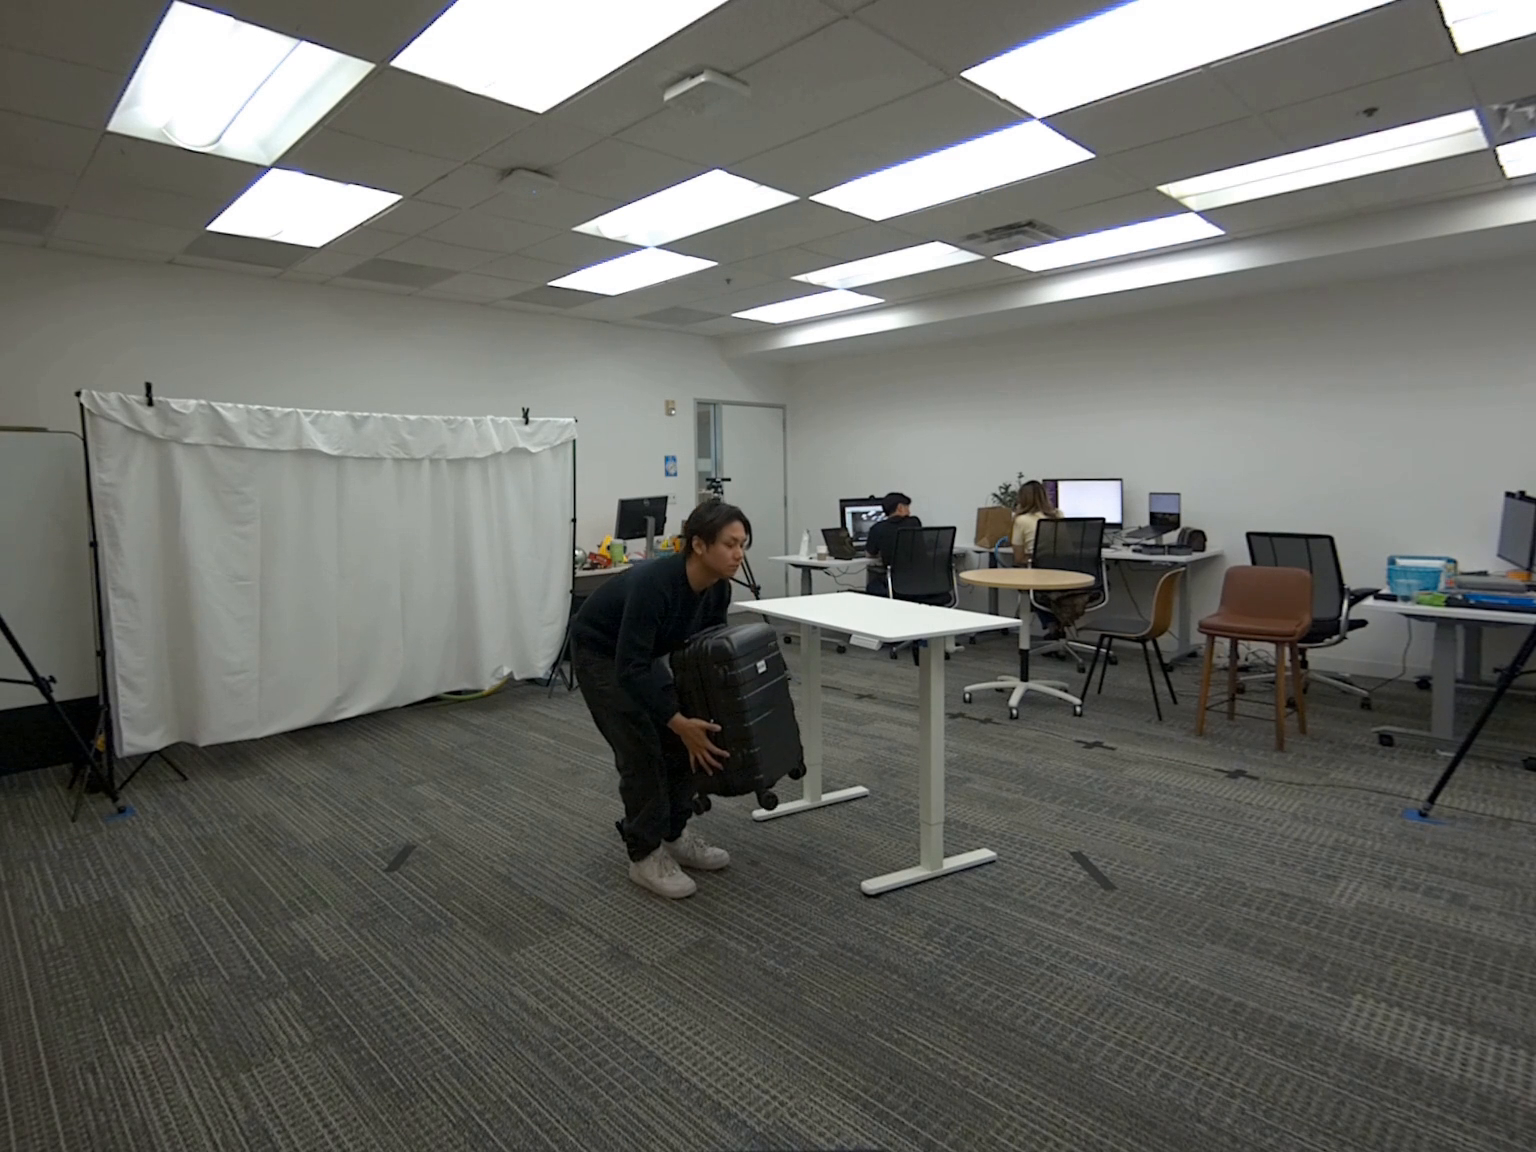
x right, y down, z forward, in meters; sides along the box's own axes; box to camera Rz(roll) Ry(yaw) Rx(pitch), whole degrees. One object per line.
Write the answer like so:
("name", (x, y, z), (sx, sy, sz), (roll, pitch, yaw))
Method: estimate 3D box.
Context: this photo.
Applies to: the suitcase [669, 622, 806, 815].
("suitcase", (-0.097, 0.437, 2.755), (0.253, 0.549, 0.369), (-11, 1, 27))
